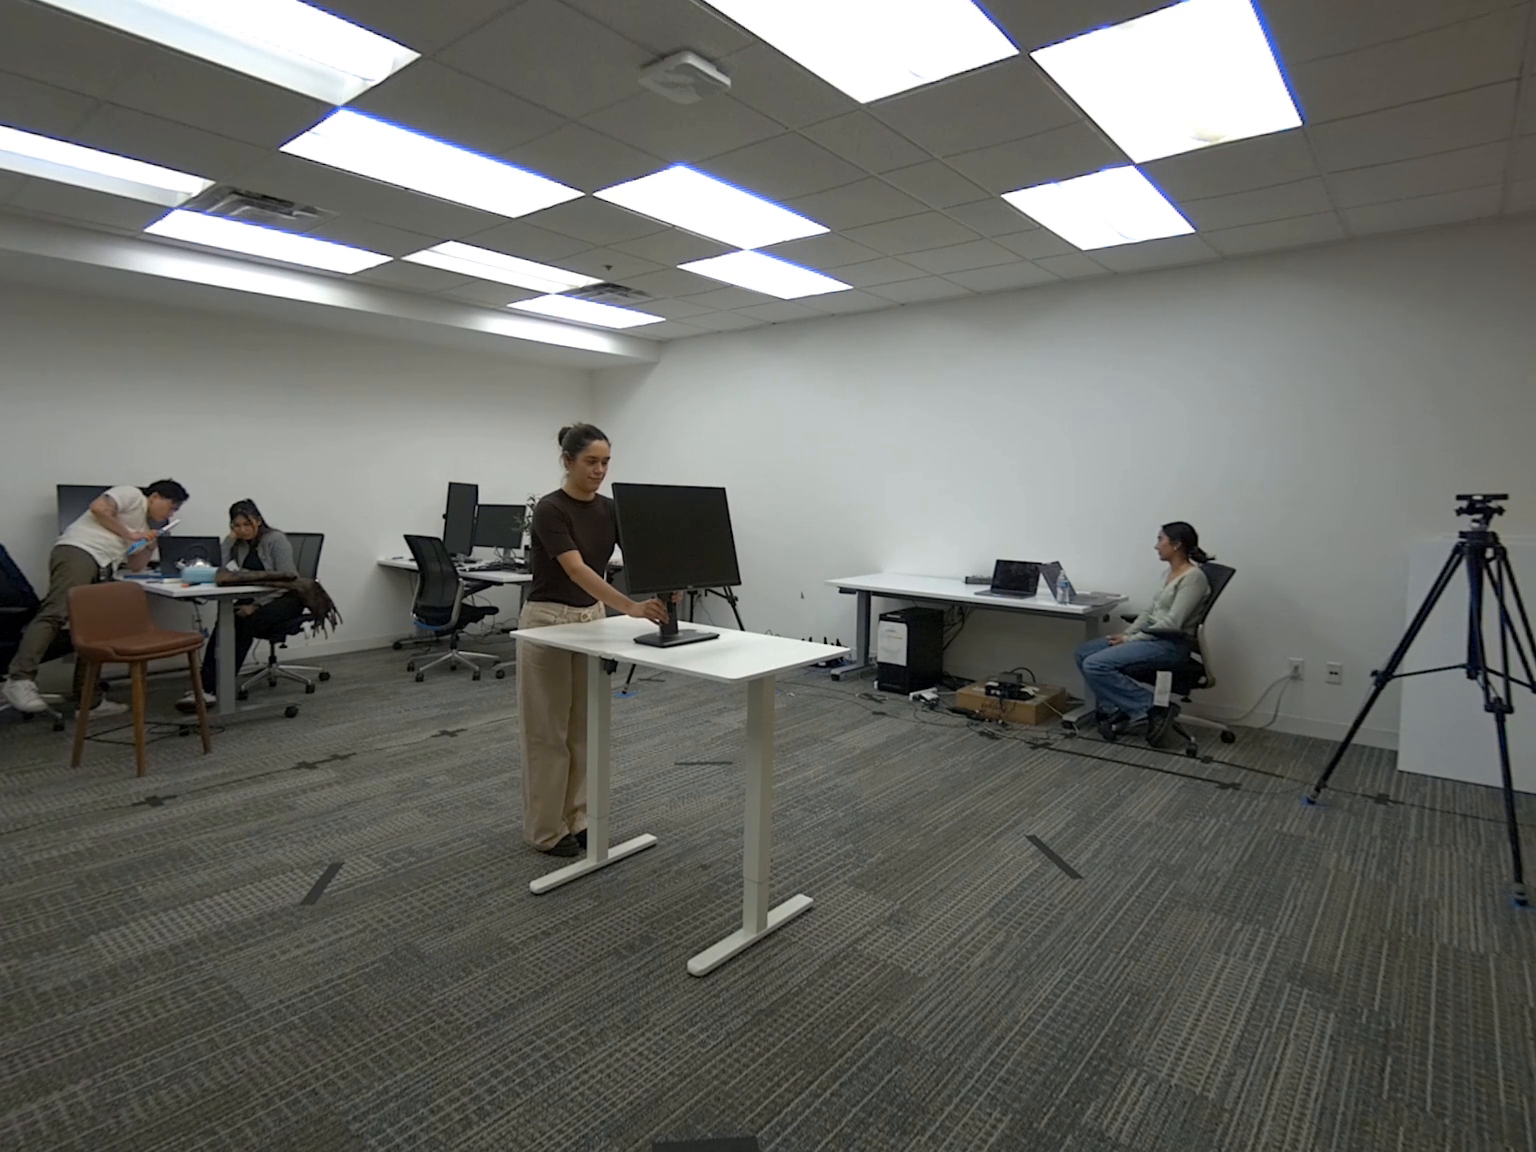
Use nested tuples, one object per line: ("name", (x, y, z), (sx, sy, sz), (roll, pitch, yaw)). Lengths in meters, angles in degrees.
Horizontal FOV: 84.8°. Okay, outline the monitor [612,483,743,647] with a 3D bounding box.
("monitor", (-0.319, -0.045, 2.821), (0.181, 0.514, 0.514), (7, 6, 37))
